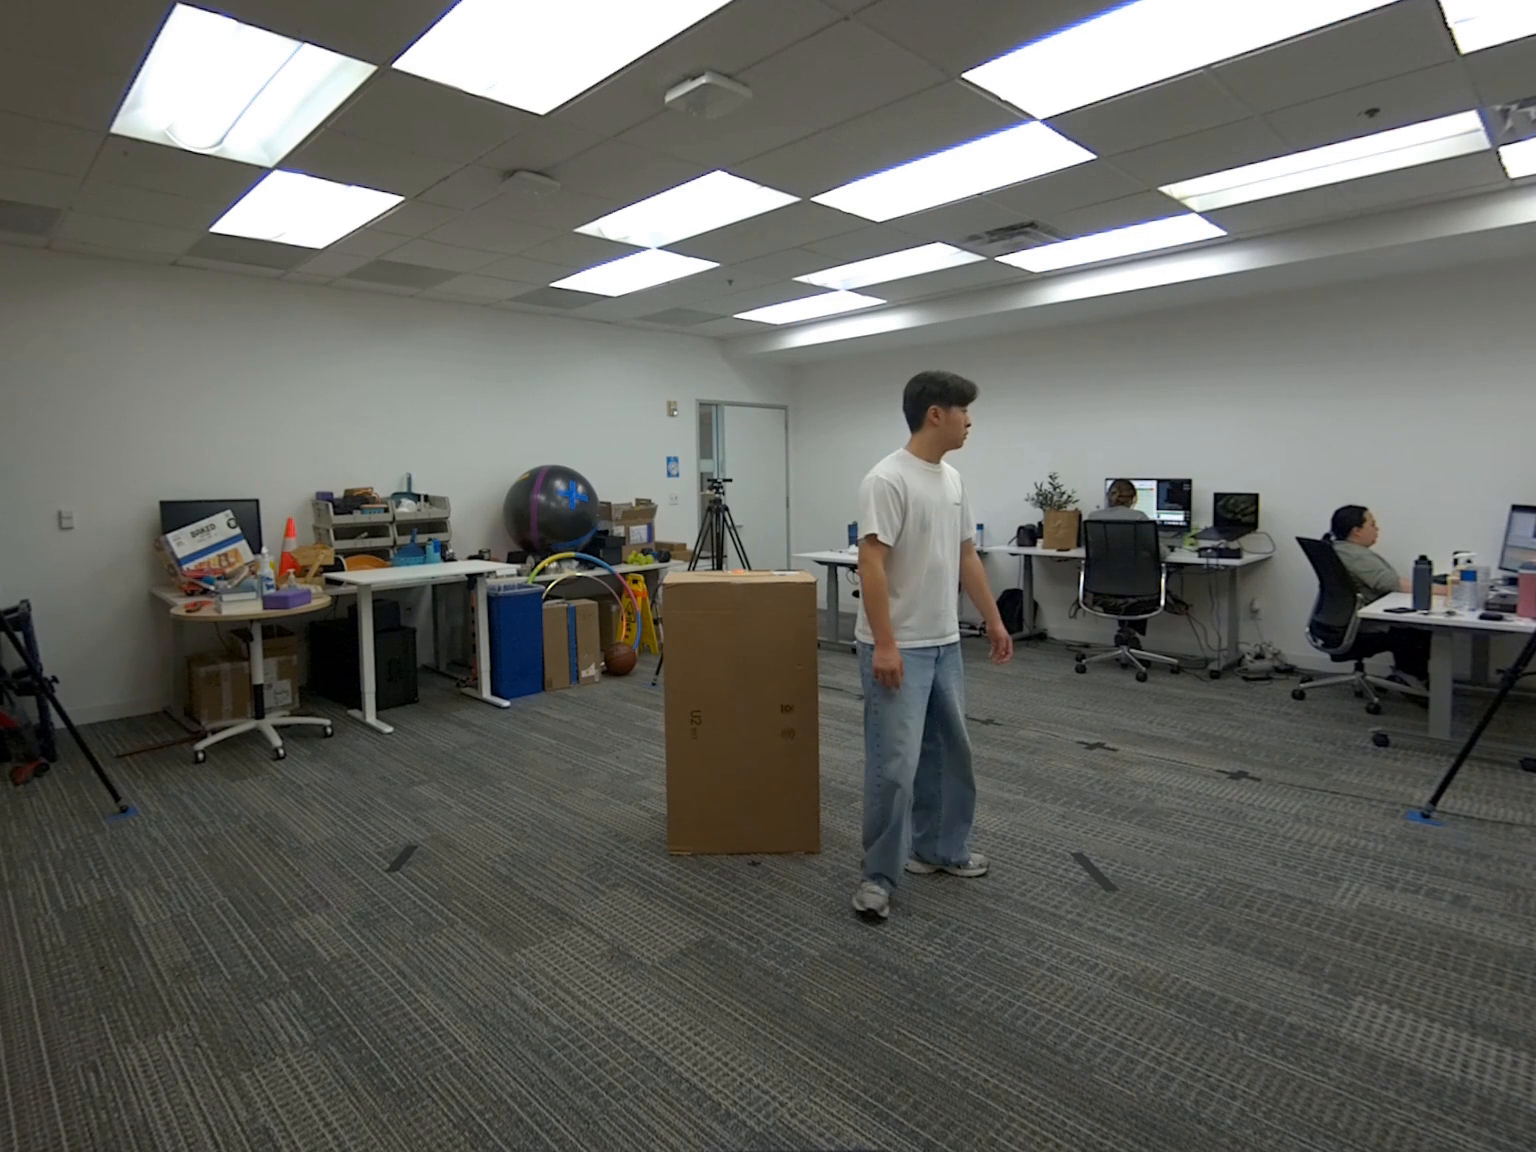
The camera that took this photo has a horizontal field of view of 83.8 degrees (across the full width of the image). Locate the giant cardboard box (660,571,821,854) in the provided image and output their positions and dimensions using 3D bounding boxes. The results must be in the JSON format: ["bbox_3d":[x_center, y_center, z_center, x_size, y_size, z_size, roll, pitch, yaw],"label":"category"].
[{"bbox_3d":[-0.105,0.508,3.371,0.577,1.022,0.428,-1,4,-1],"label":"giant cardboard box"}]
